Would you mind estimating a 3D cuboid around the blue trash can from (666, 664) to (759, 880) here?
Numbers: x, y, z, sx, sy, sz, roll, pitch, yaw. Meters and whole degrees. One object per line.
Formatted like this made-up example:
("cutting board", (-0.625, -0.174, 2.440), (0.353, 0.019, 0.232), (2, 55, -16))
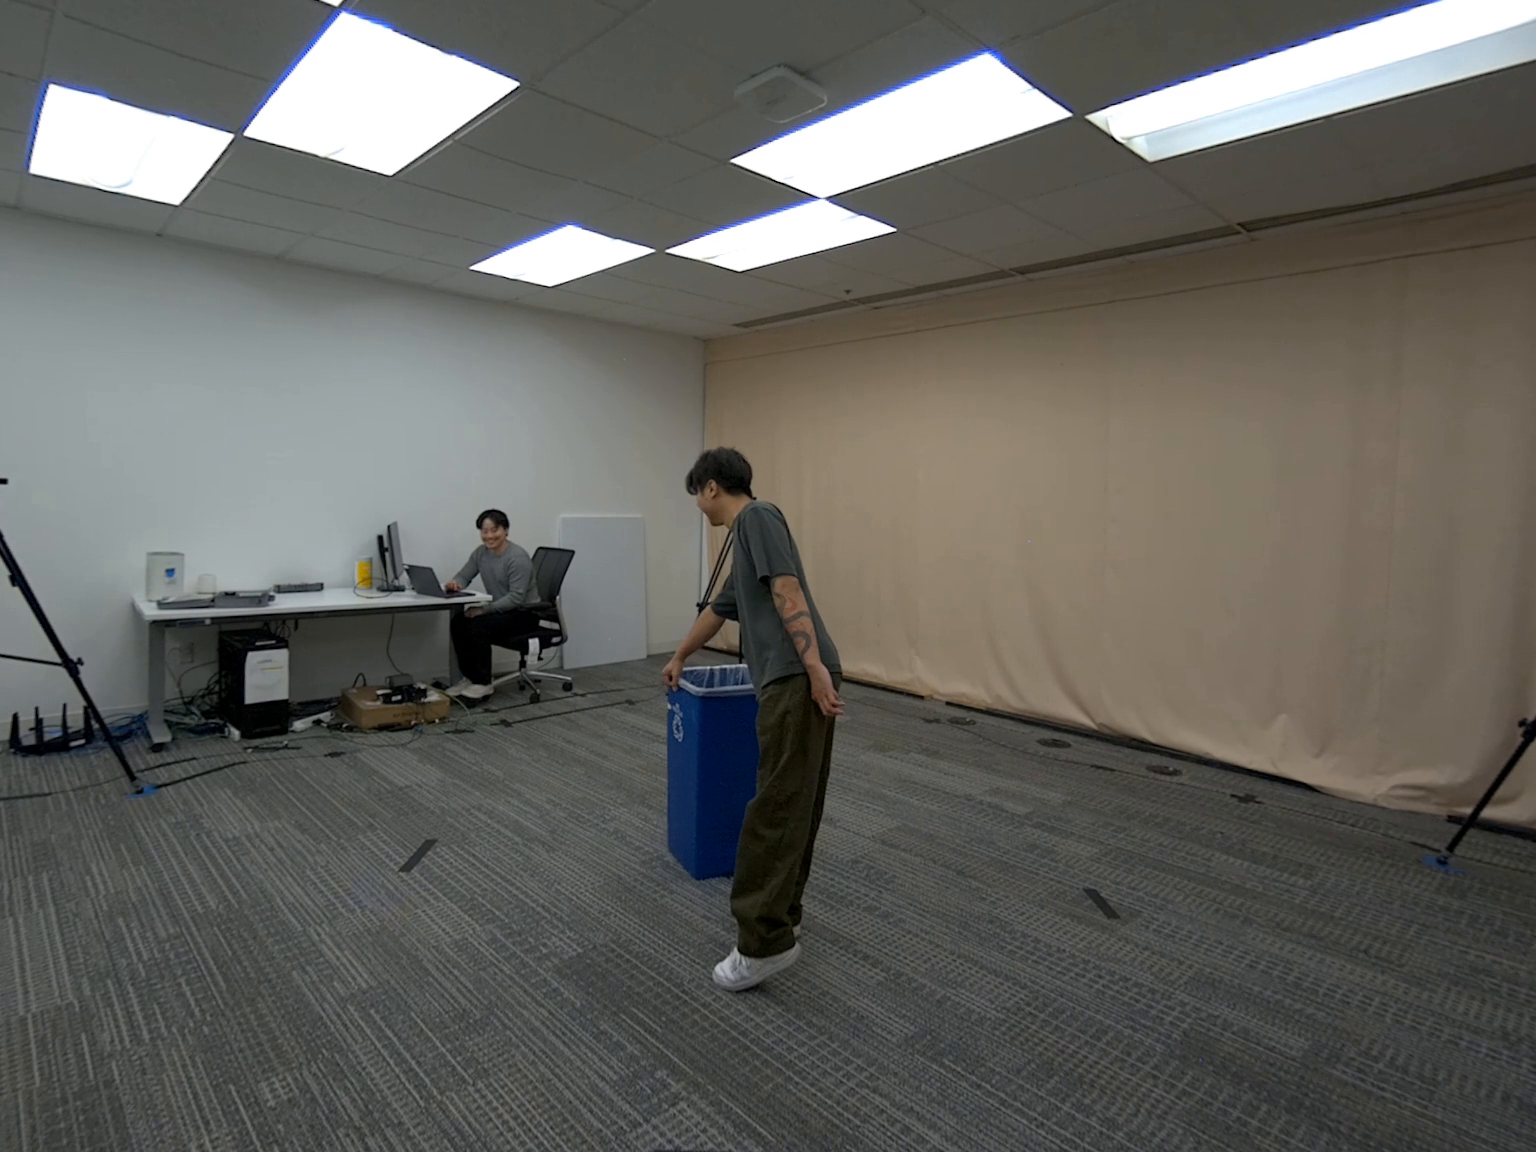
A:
("blue trash can", (-0.178, 0.732, 3.226), (0.371, 0.712, 0.382), (0, 4, -27))
